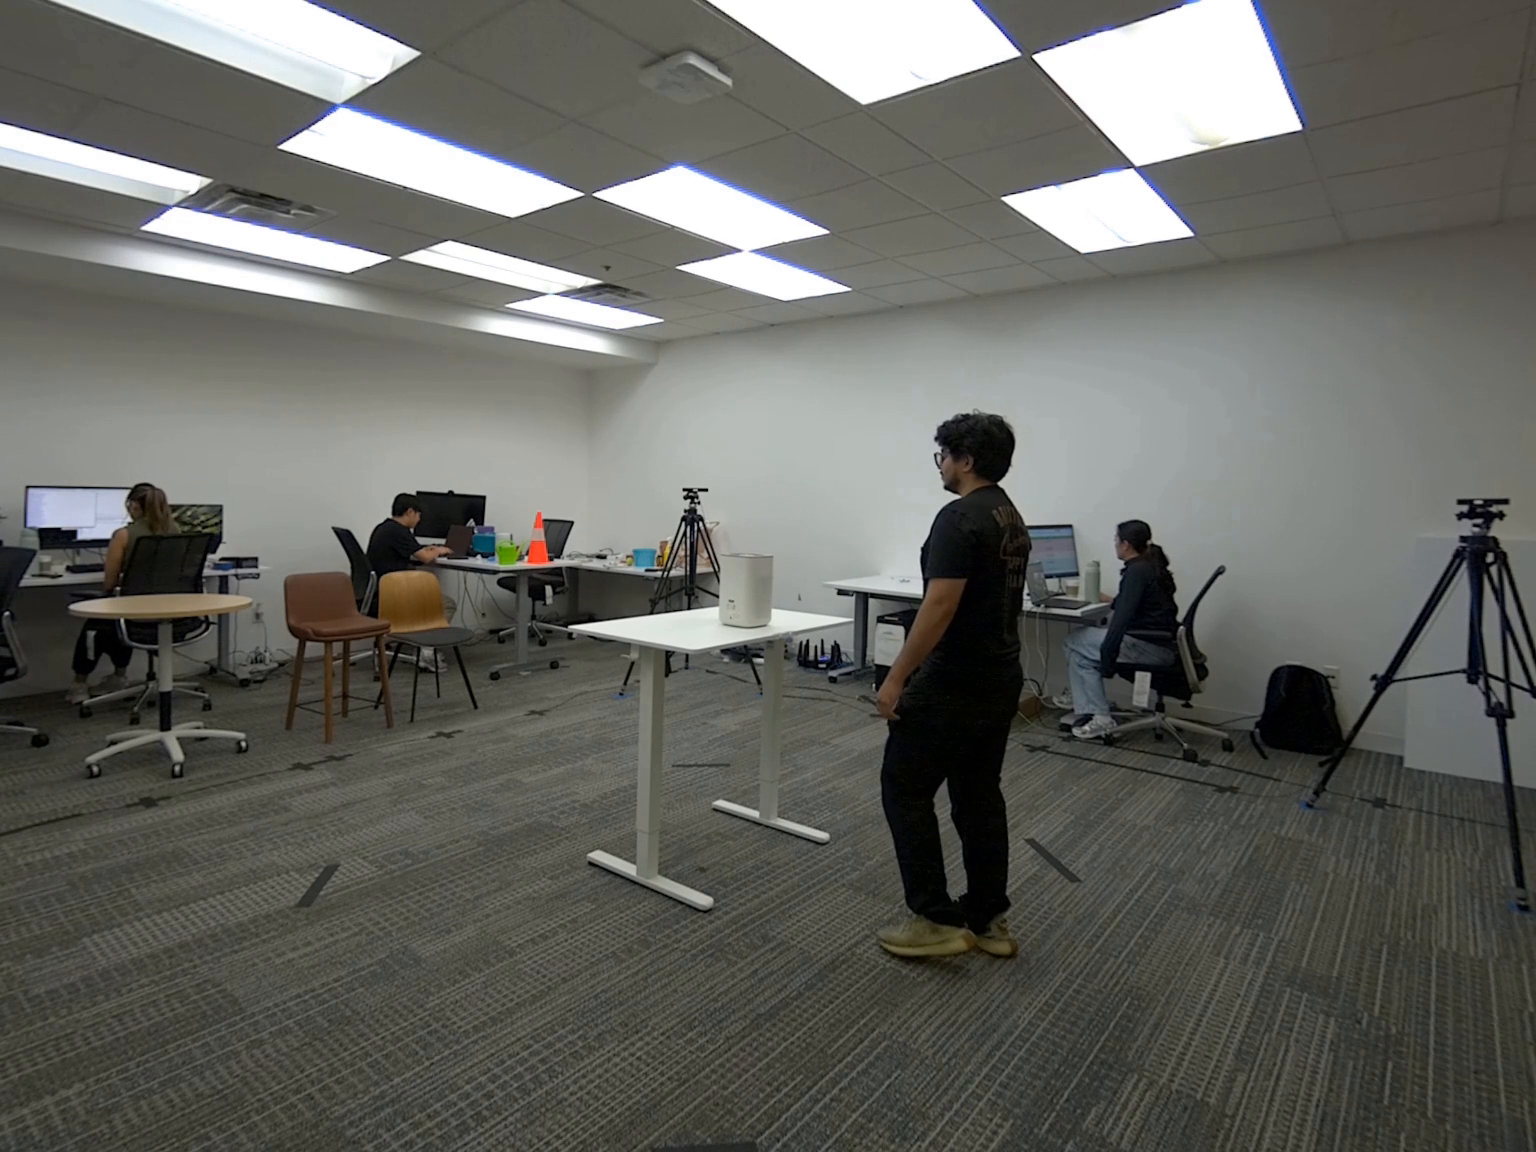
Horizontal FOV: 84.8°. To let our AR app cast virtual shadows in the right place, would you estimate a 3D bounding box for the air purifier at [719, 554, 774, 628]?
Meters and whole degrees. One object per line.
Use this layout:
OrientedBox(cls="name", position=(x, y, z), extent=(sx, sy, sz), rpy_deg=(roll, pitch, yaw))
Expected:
OrientedBox(cls="air purifier", position=(-0.093, 0.049, 3.196), extent=(0.176, 0.265, 0.166), rpy_deg=(3, 3, 37))
